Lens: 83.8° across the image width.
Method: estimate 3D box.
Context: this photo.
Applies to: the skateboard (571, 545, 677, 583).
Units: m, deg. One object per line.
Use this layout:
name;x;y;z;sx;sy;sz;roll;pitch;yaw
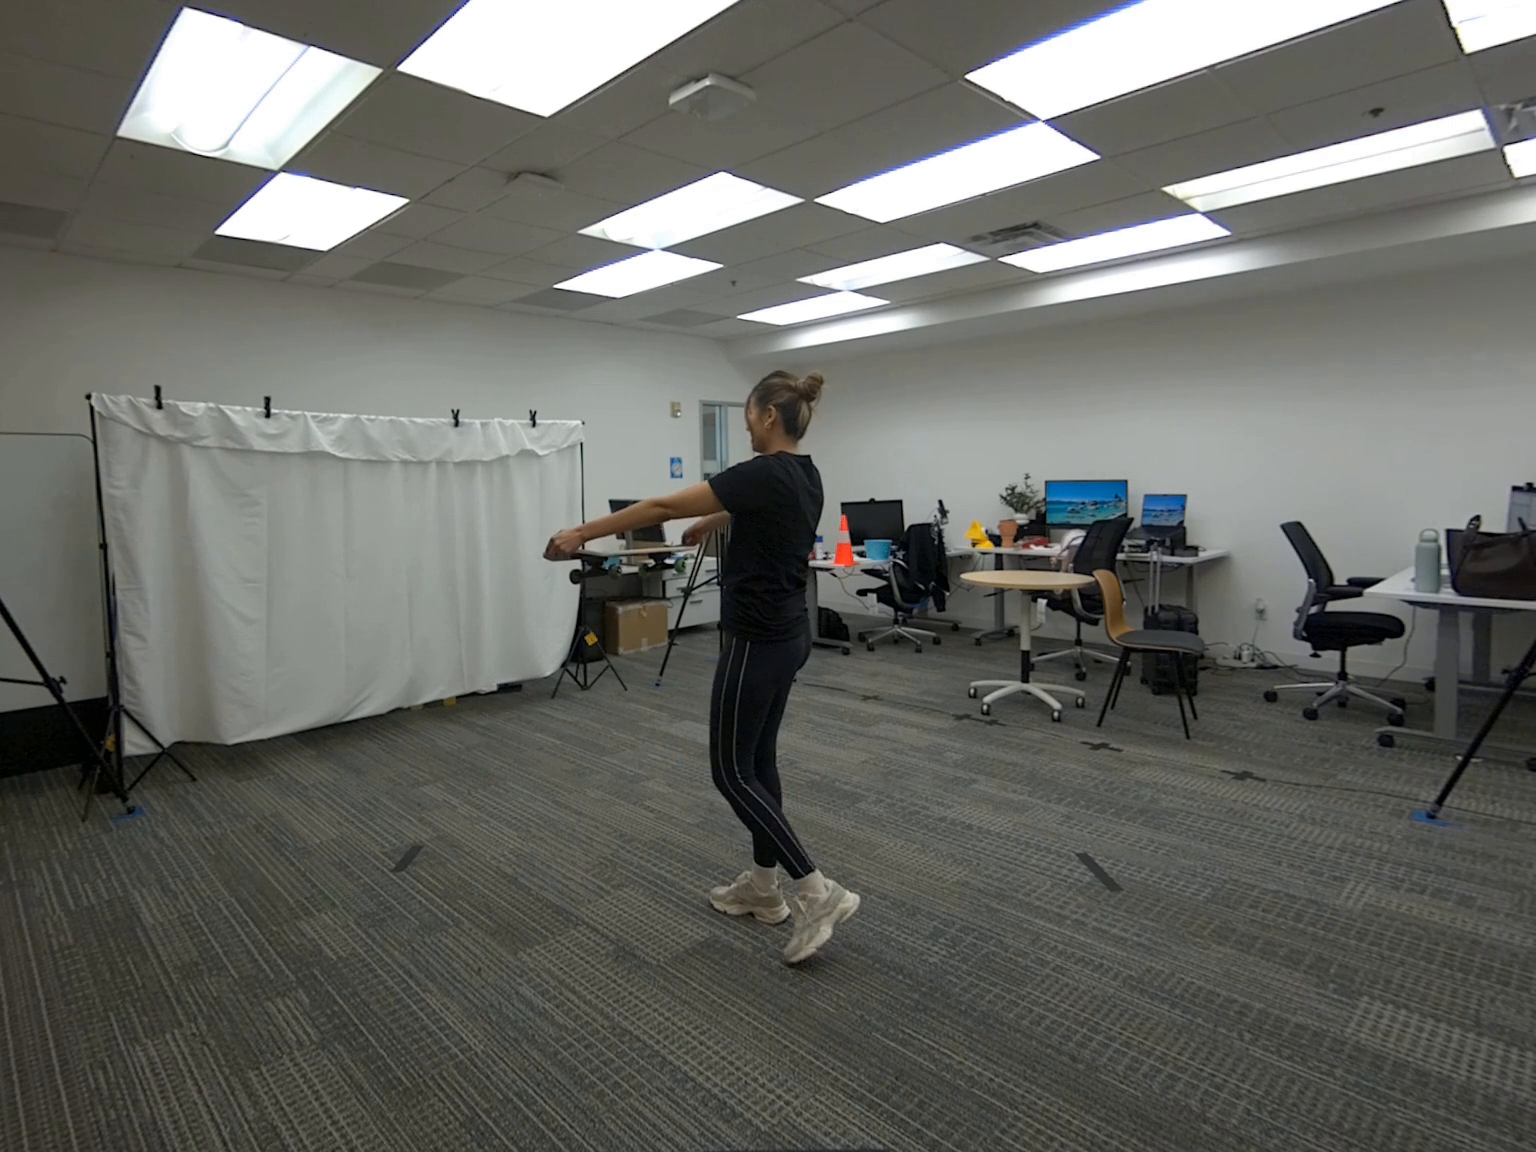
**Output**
skateboard;-0.467;-0.043;2.887;0.197;0.110;0.769;-10;-1;25
